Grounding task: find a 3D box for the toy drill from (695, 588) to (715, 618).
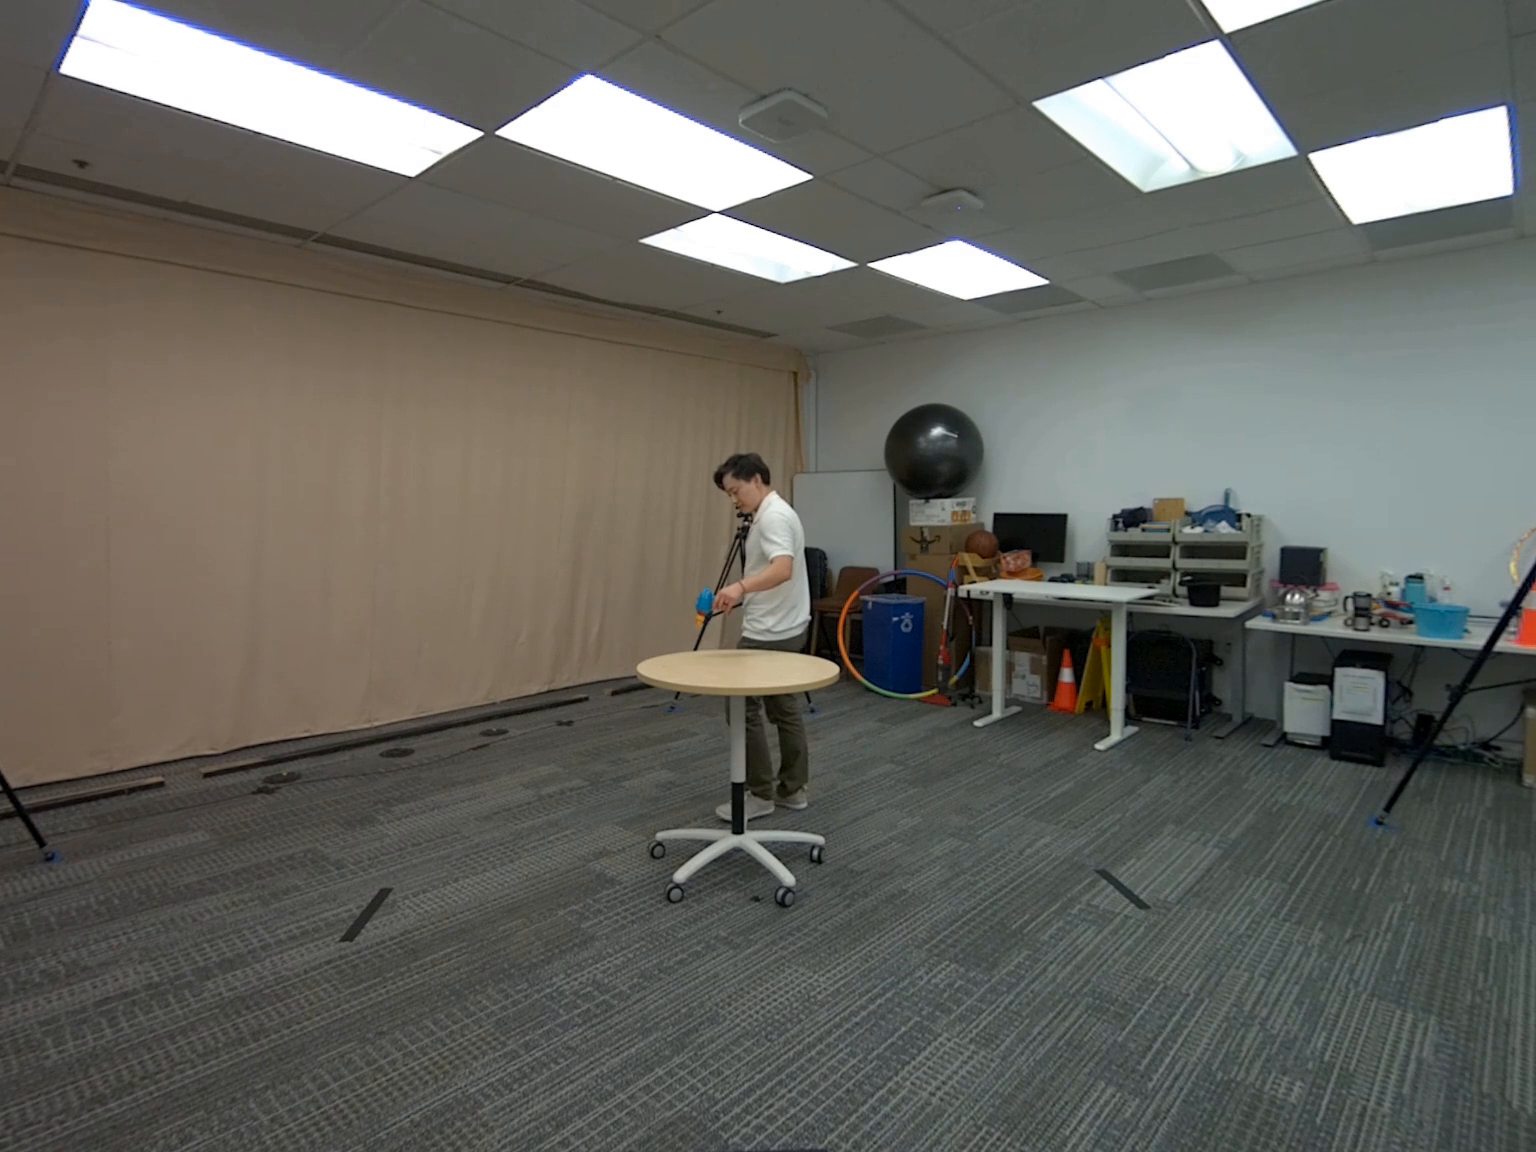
[{"bbox_3d":[-0.223,0.143,3.404,0.144,0.170,0.062,14,-7,-10],"label":"toy drill"}]
